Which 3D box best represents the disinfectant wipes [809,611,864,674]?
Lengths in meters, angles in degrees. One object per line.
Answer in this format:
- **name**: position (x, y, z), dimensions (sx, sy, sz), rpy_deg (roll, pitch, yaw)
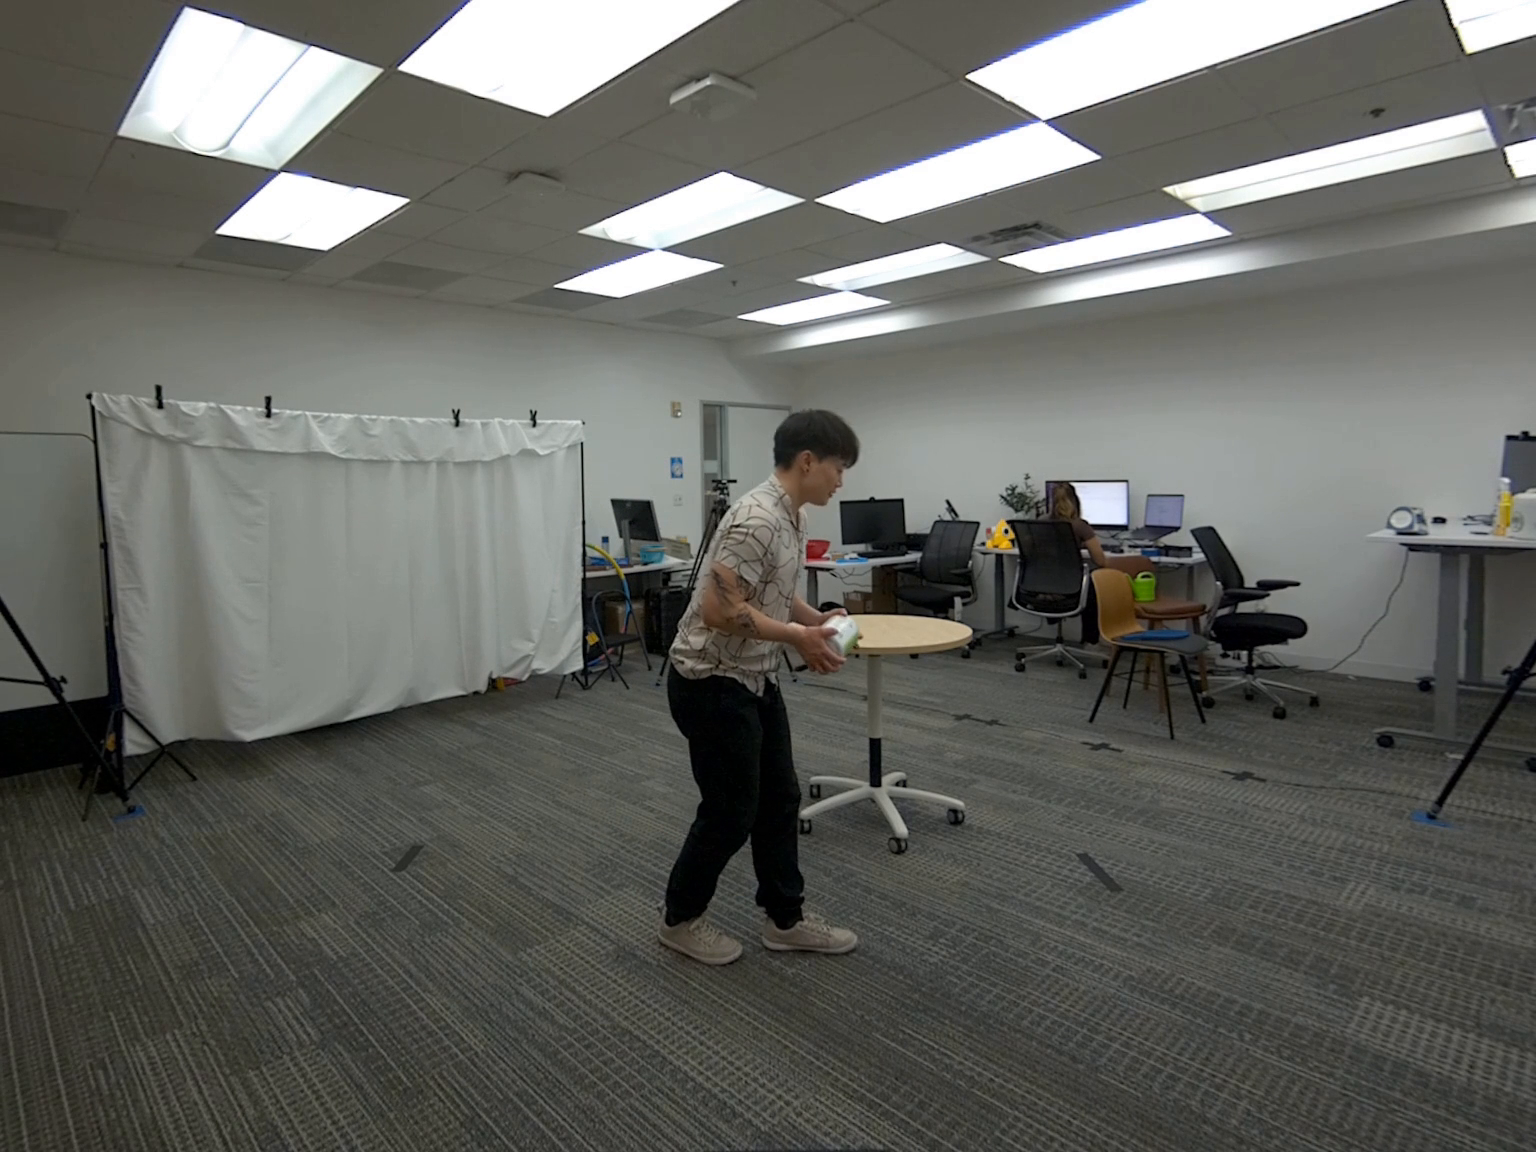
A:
- **disinfectant wipes**: position (0.194, 0.182, 2.413), dimensions (0.119, 0.117, 0.216), rpy_deg (0, 11, 14)
